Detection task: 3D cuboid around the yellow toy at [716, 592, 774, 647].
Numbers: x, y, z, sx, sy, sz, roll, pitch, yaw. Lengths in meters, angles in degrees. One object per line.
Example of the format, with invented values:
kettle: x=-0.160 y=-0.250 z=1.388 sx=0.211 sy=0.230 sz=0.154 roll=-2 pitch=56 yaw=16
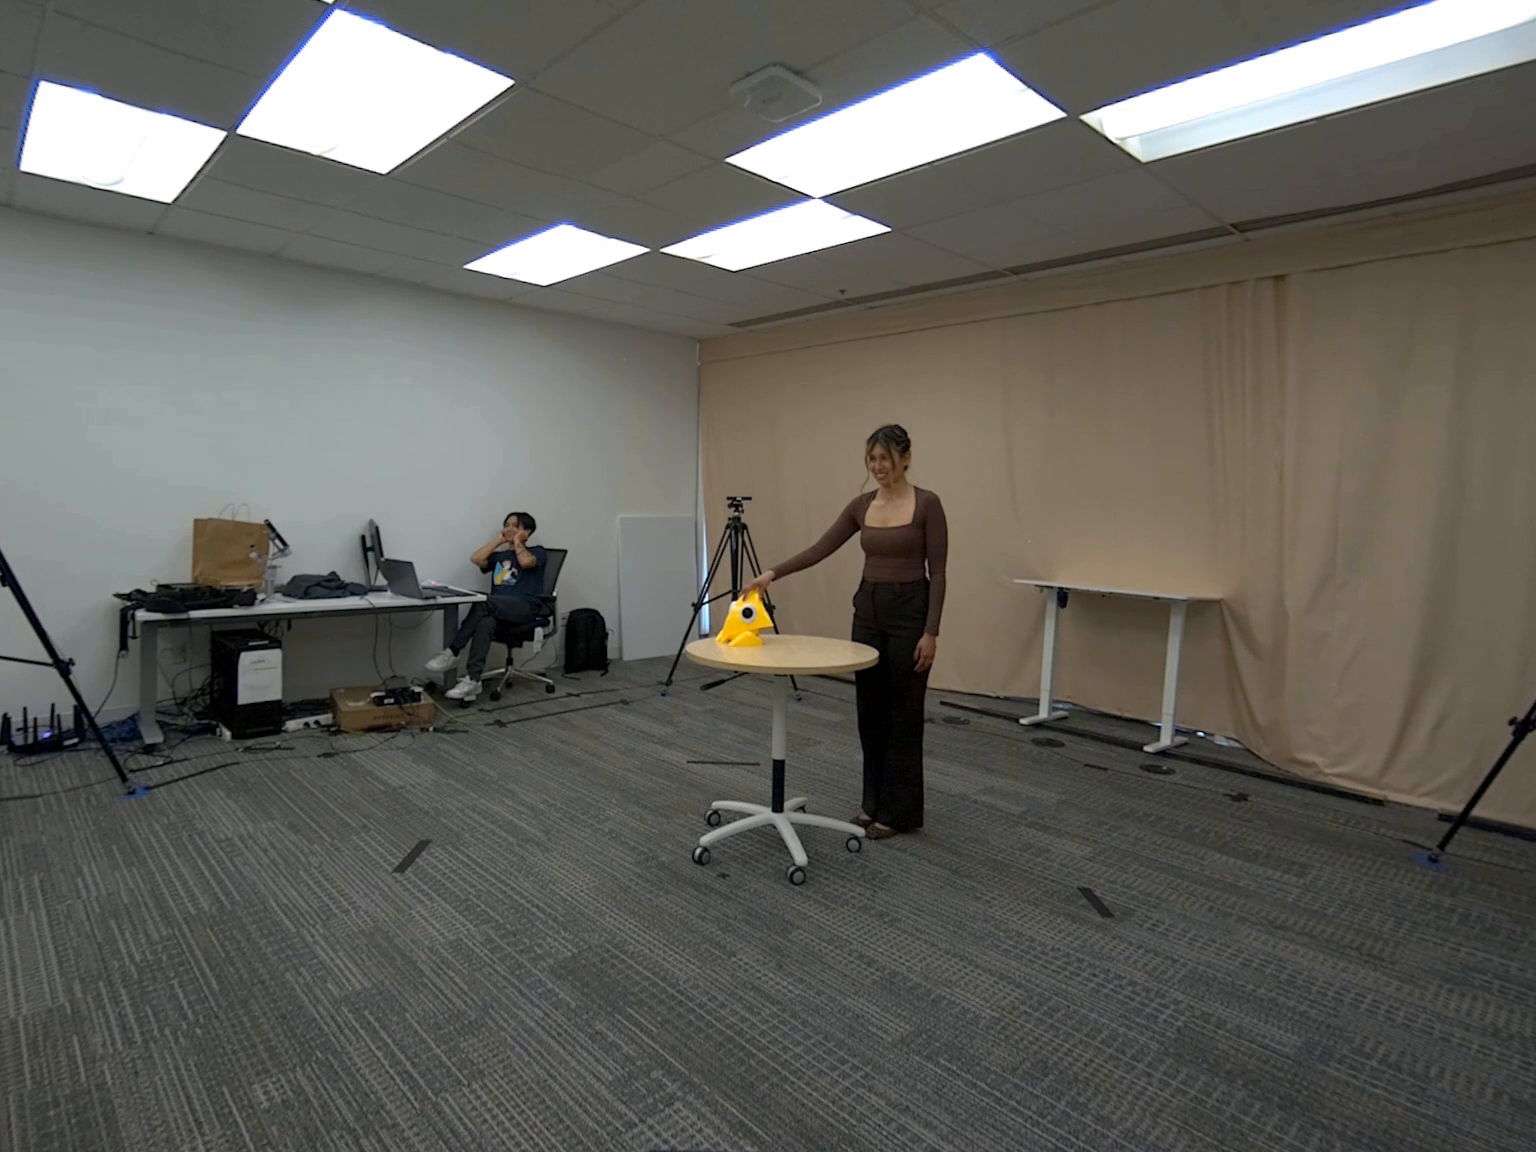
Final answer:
yellow toy: x=-0.114 y=0.164 z=3.495 sx=0.189 sy=0.230 sz=0.209 roll=-1 pitch=3 yaw=-30
